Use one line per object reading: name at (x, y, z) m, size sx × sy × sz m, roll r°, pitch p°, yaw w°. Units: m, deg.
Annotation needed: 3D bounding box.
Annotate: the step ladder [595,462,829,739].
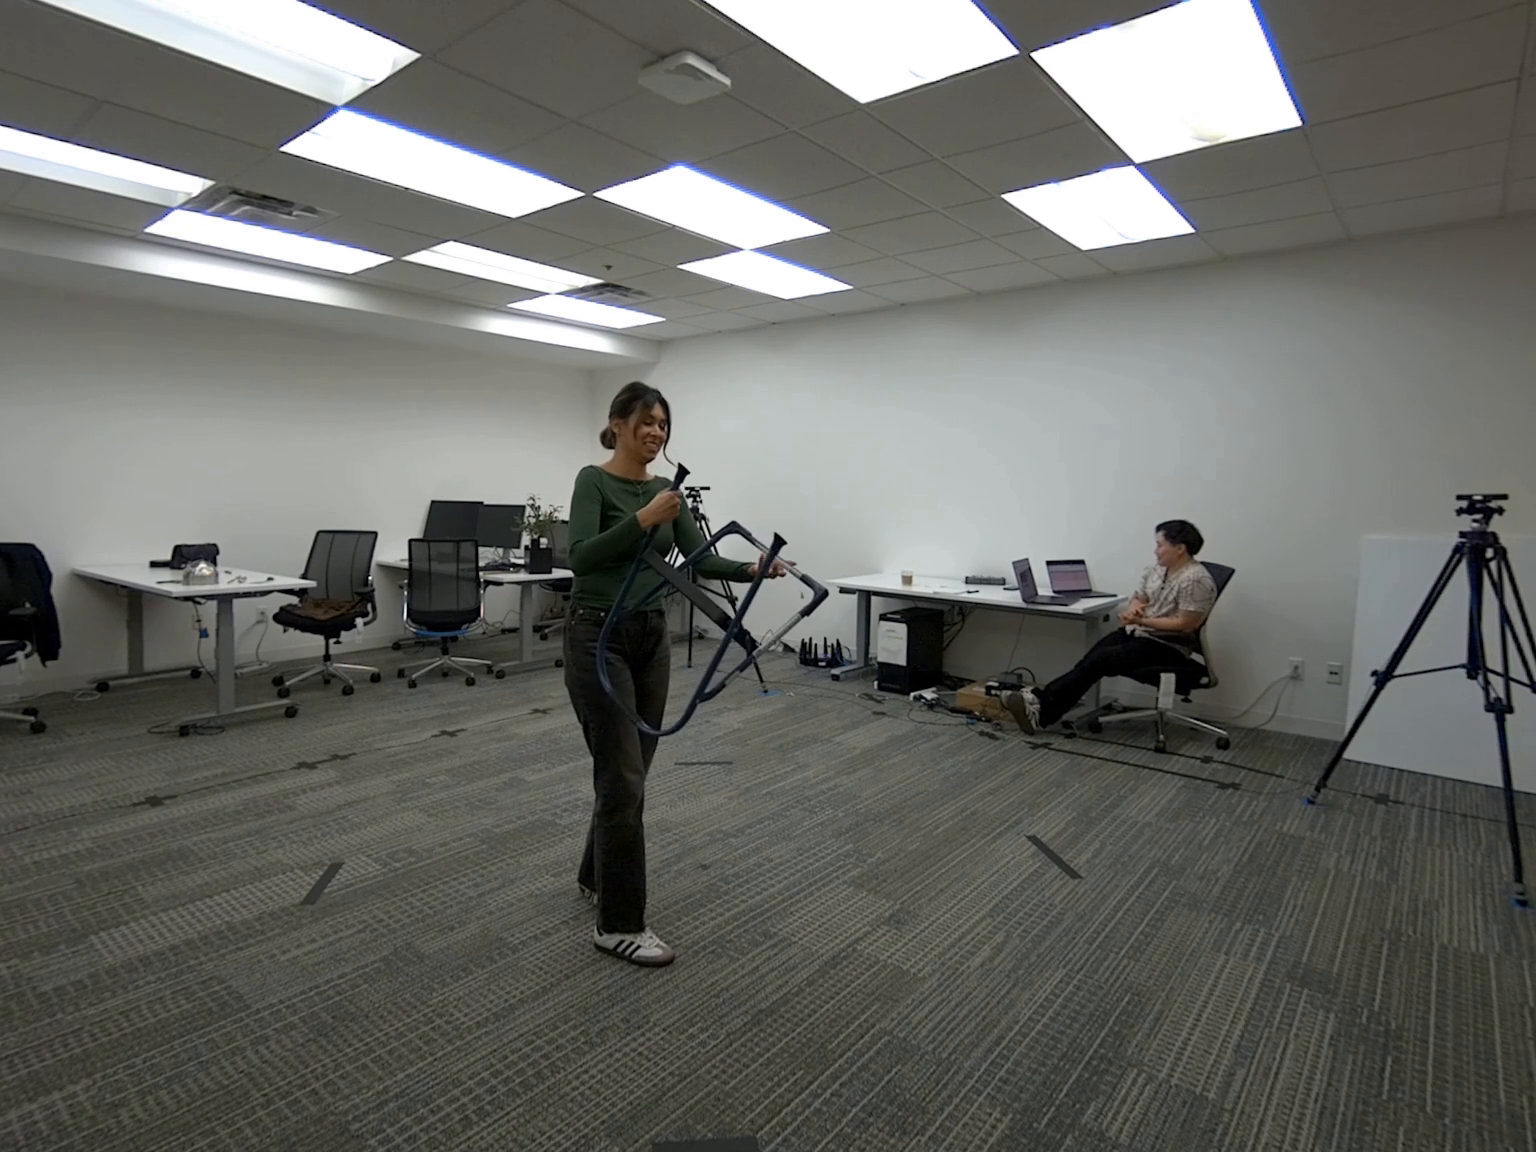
step ladder at (-0.230, 0.104, 2.262) m, size 0.449 × 0.606 × 0.335 m, roll 38°, pitch -4°, yaw 37°
